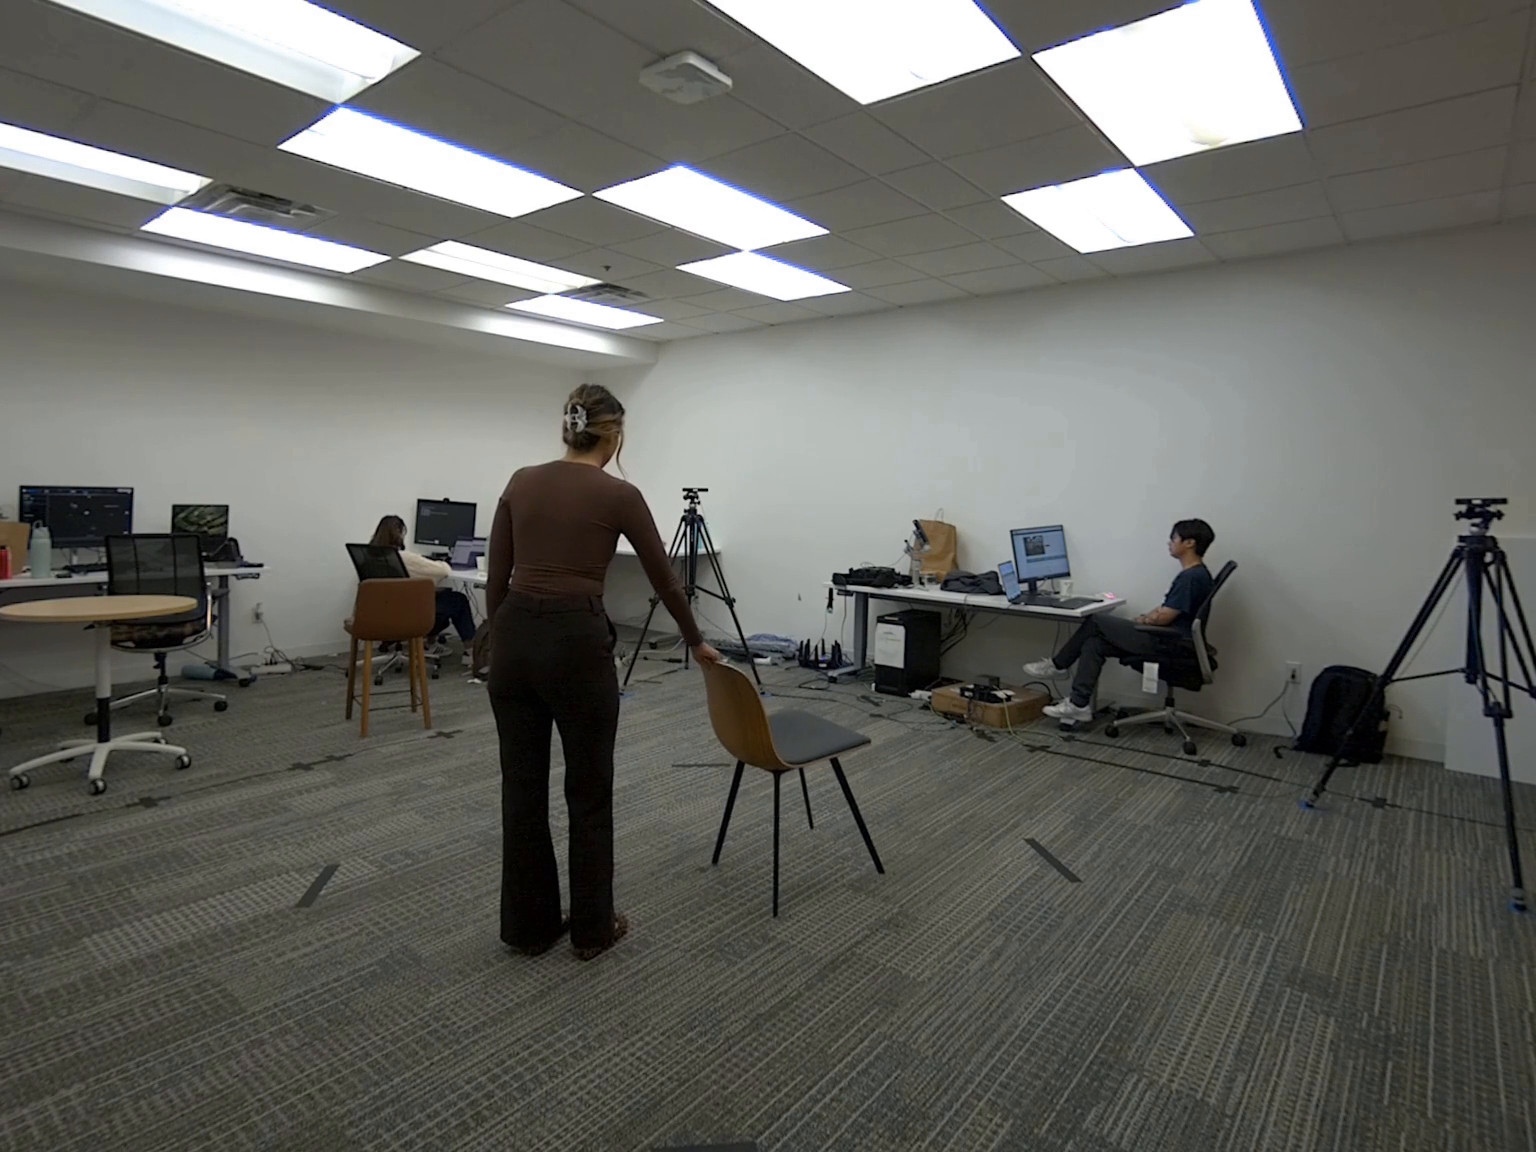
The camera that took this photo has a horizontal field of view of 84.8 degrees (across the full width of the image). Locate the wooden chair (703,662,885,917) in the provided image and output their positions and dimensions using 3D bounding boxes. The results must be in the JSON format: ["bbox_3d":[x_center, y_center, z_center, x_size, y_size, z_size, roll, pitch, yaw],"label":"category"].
[{"bbox_3d":[0.056,0.631,3.013,0.513,0.869,0.492,-14,10,-28],"label":"wooden chair"}]
